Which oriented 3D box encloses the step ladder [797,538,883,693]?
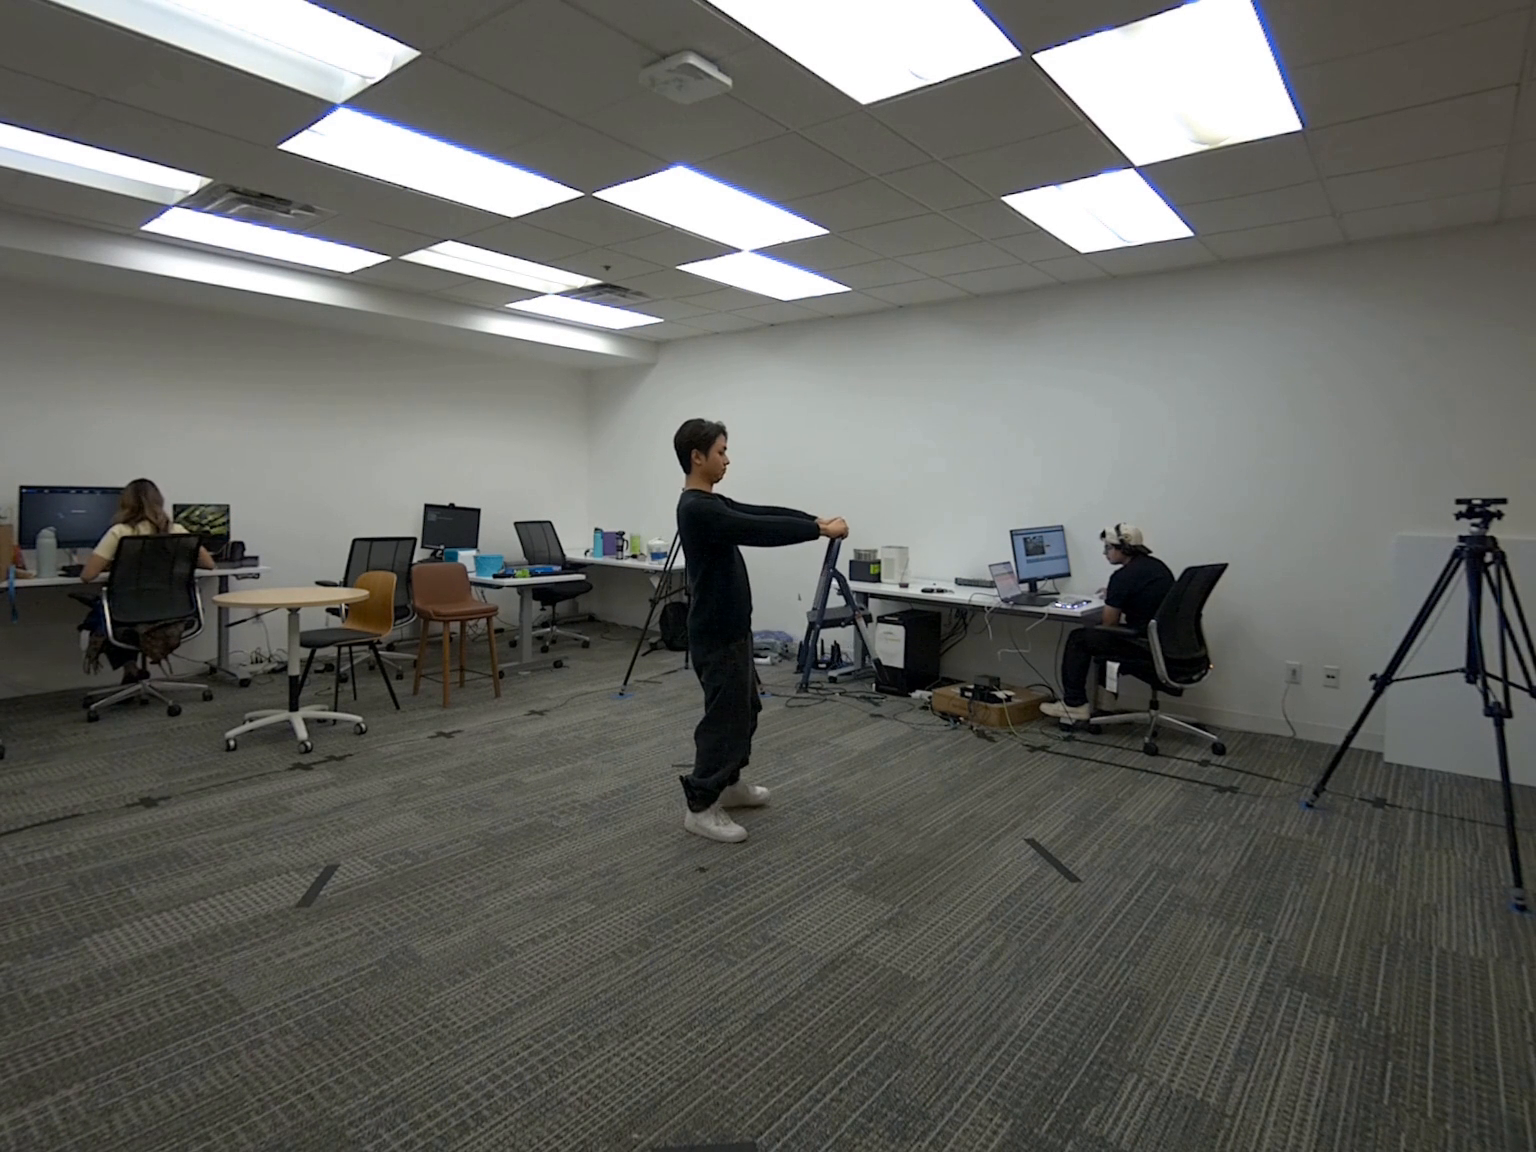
[{"bbox_3d":[0.230,0.117,3.395,0.350,0.607,0.429,-8,-1,1],"label":"step ladder"}]
